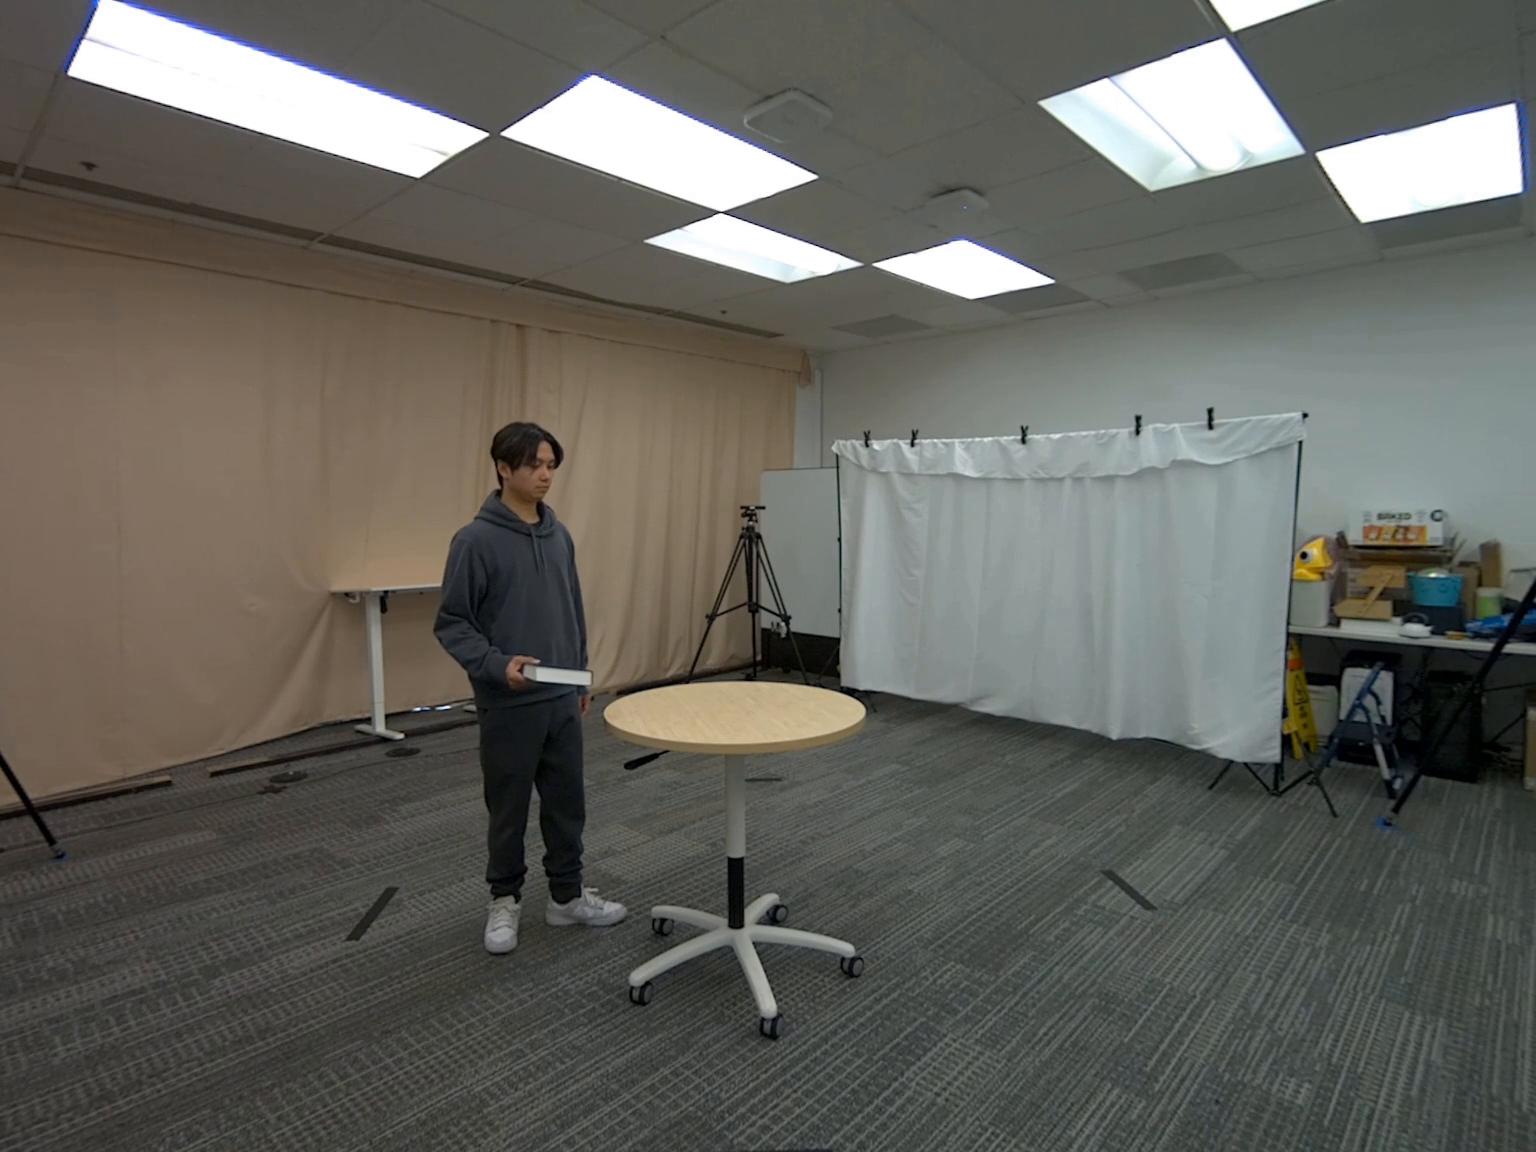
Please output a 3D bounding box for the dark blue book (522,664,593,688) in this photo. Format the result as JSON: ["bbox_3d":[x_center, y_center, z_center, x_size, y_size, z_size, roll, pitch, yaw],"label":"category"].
[{"bbox_3d":[-0.618,0.279,2.419,0.159,0.045,0.250,9,-6,-25],"label":"dark blue book"}]
